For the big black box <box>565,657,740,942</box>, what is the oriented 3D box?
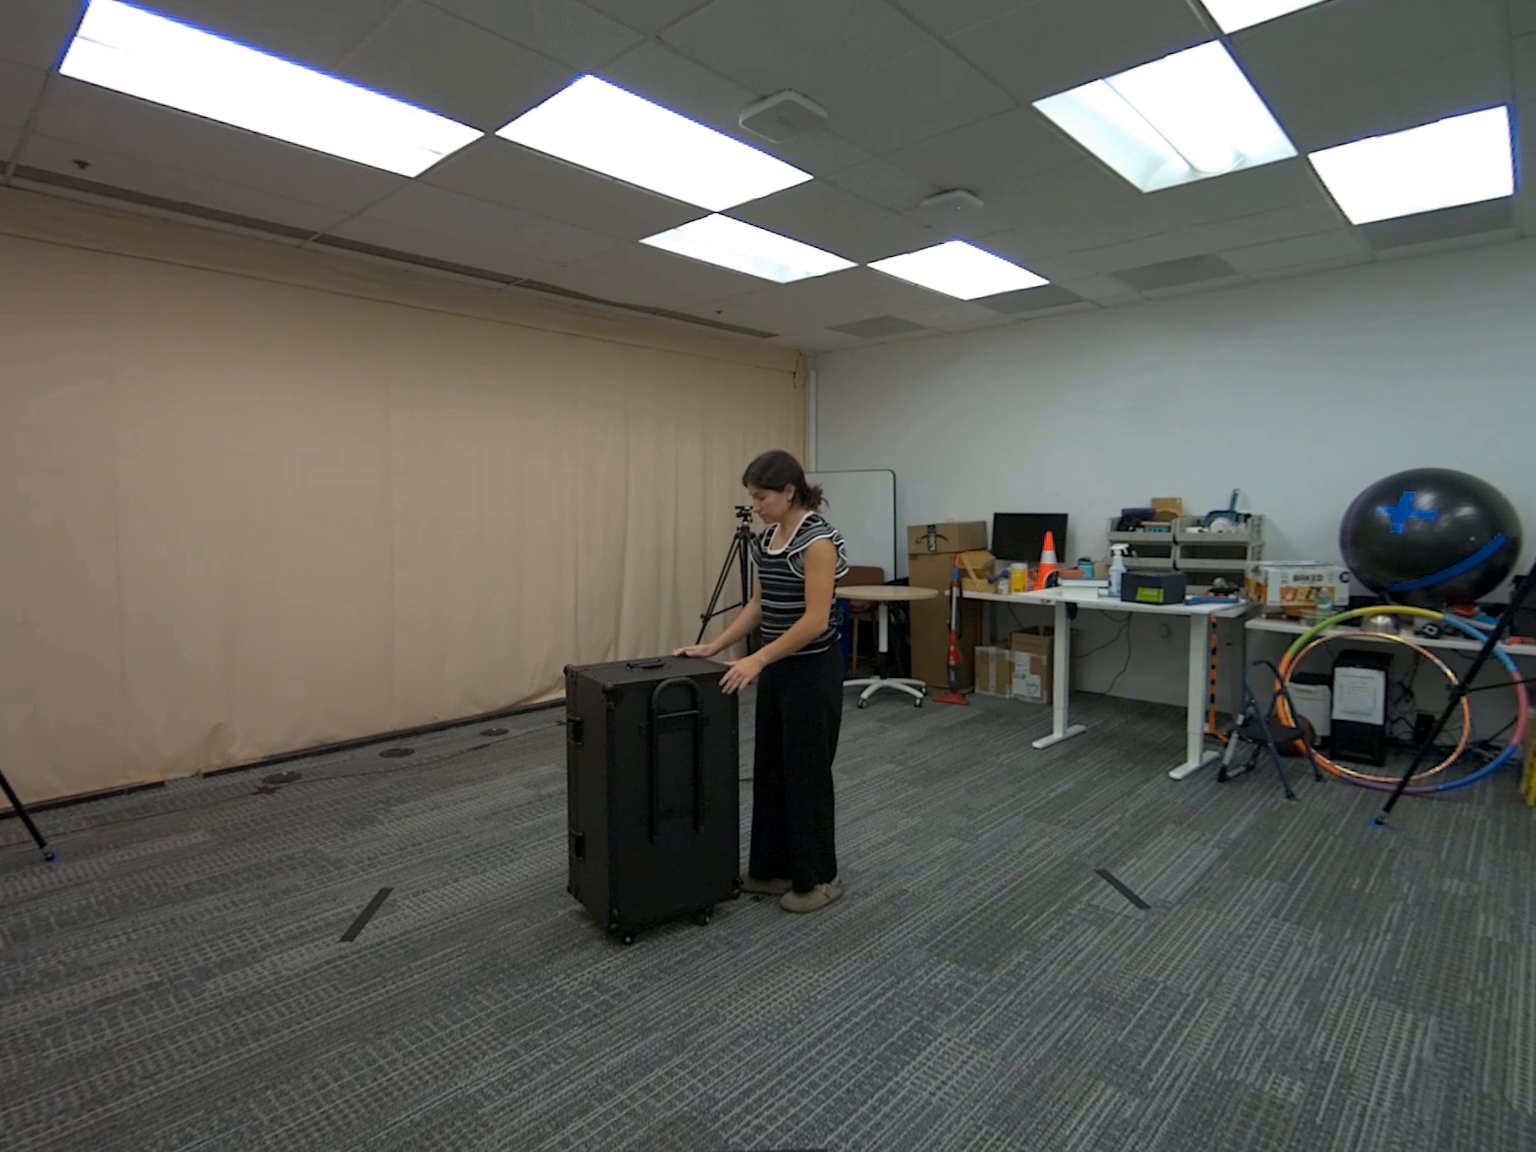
[{"bbox_3d":[-0.386,0.738,2.842,0.507,0.860,0.408,-1,4,-32],"label":"big black box"}]
